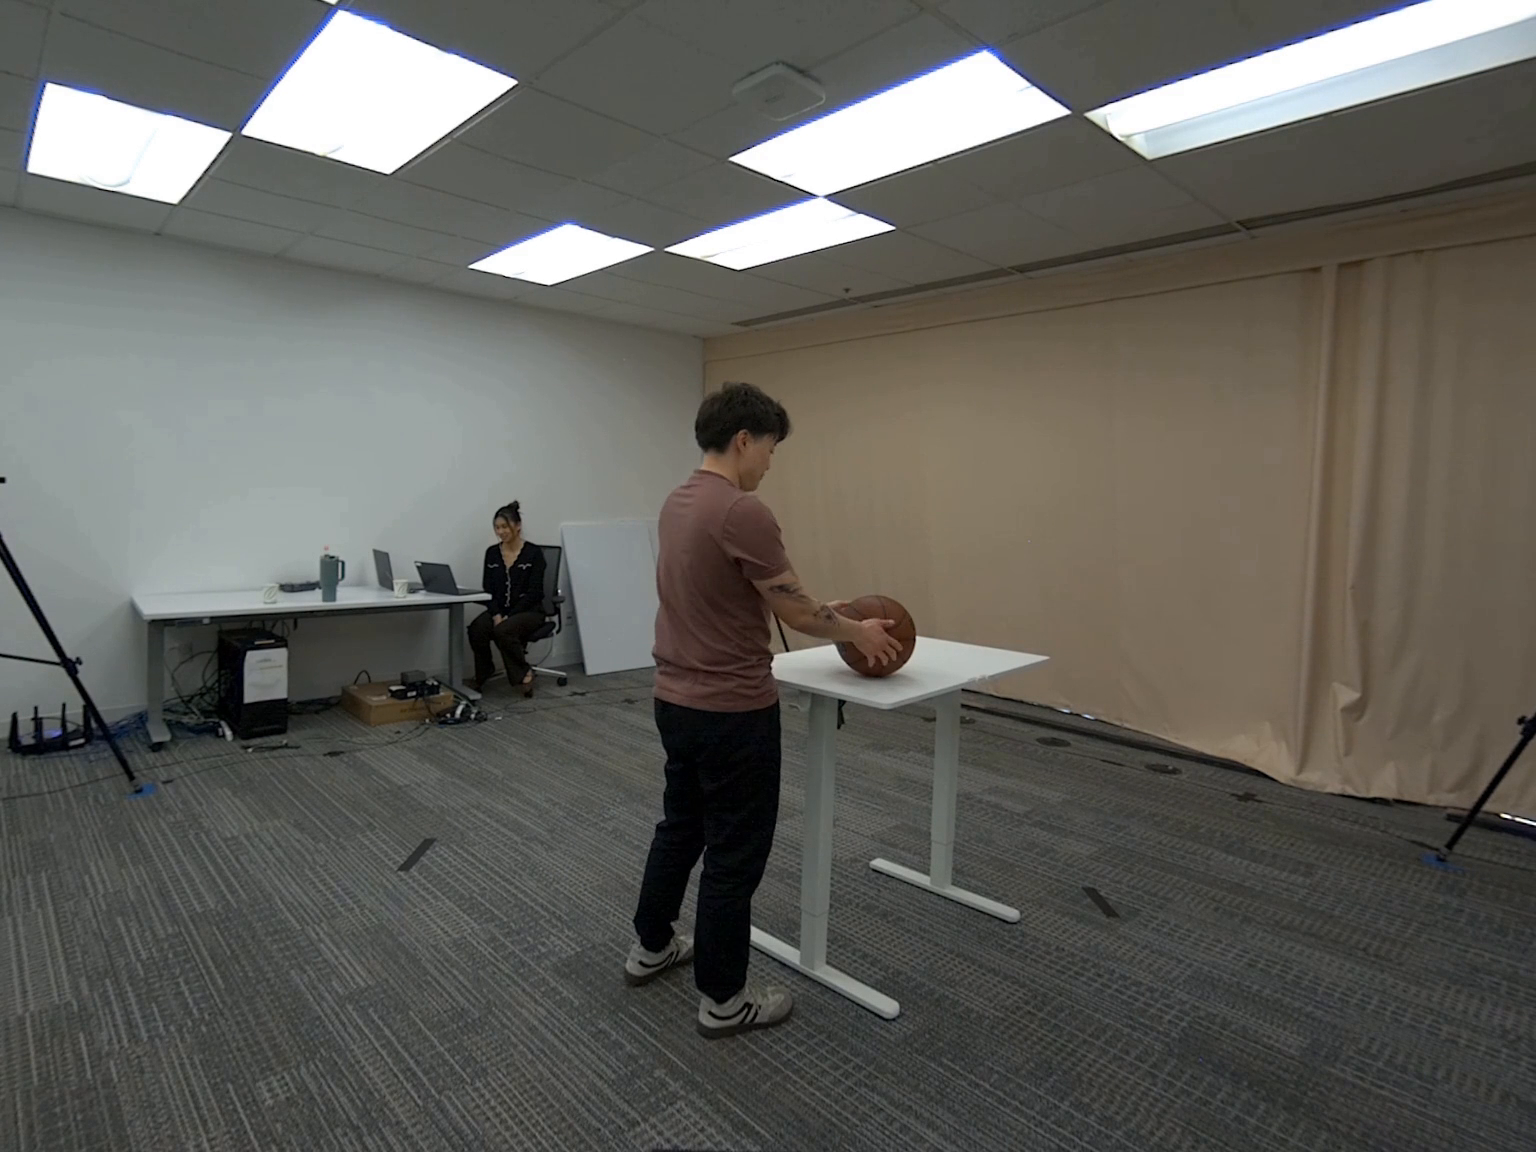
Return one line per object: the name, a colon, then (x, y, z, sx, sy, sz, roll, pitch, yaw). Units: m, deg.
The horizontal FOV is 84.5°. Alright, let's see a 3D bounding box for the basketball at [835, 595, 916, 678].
basketball: (0.308, 0.176, 2.457, 0.236, 0.235, 0.237, 1, 4, -1)
